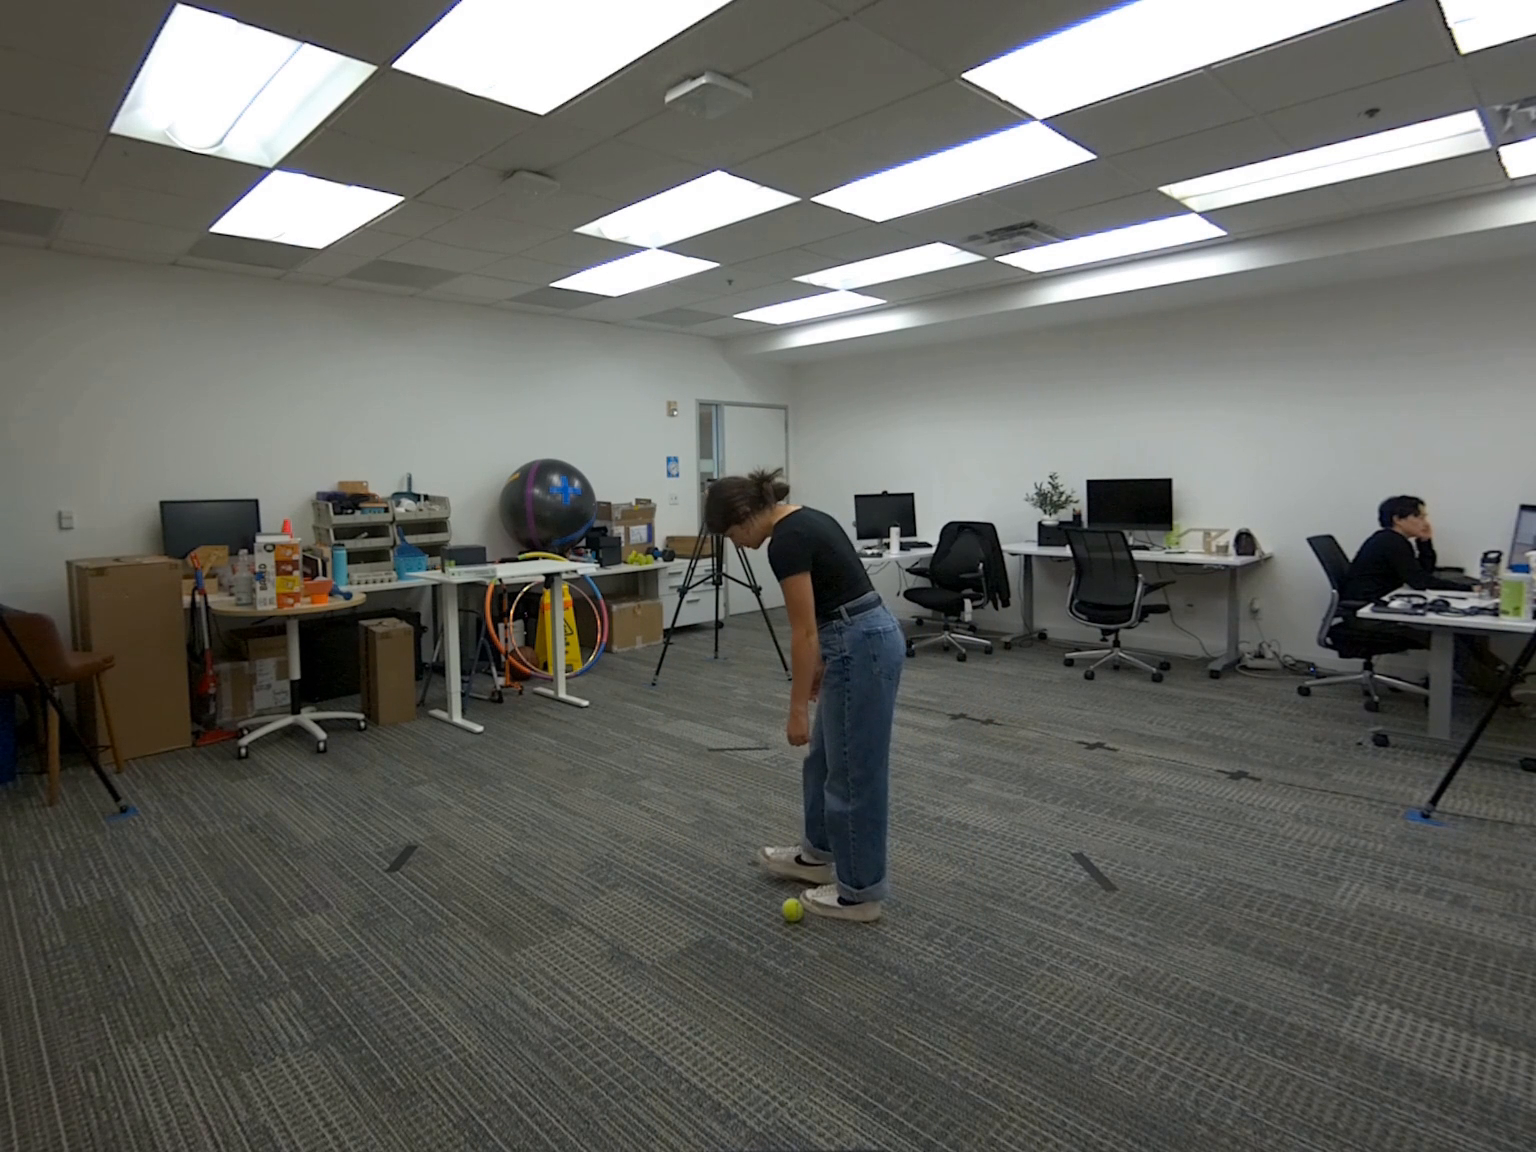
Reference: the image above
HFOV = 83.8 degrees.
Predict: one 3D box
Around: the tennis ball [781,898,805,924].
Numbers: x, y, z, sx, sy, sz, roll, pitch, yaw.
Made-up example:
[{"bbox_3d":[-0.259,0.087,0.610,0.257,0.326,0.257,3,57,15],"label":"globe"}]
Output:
[{"bbox_3d":[0.086,1.043,2.699,0.066,0.066,0.067,-1,5,-2],"label":"tennis ball"}]
